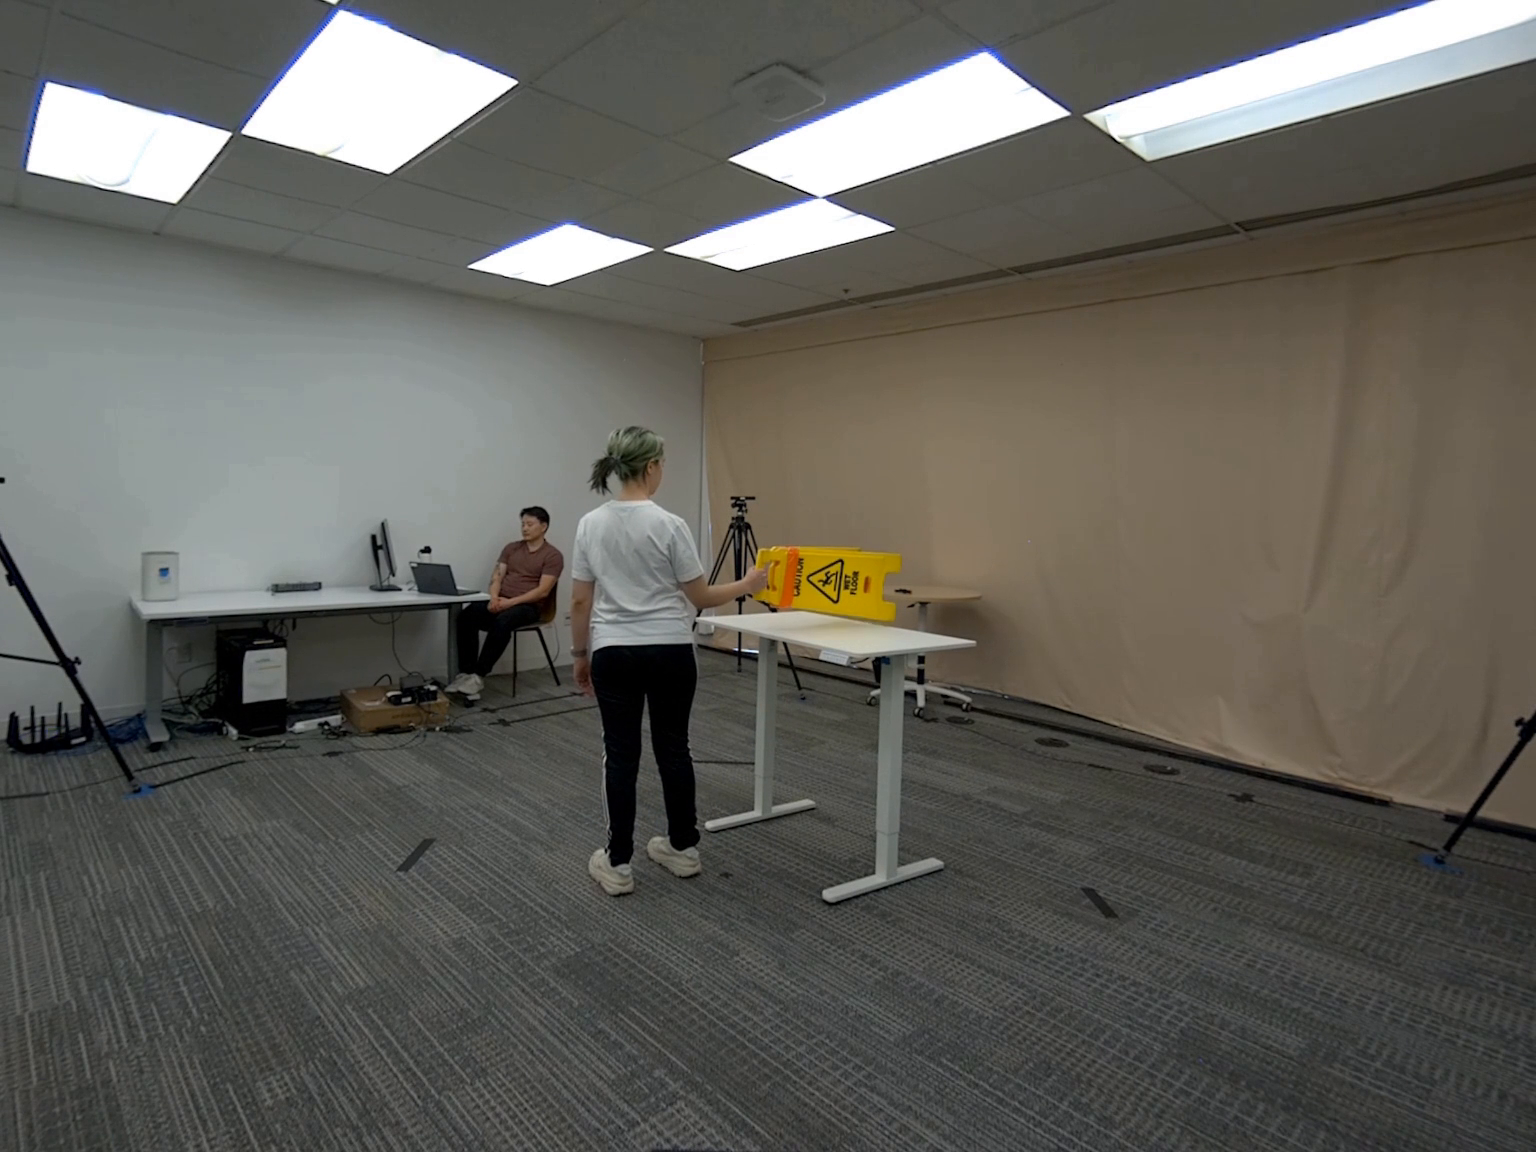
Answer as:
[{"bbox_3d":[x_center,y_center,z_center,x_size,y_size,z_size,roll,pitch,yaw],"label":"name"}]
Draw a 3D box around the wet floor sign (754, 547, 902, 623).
[{"bbox_3d":[0.199,0.015,3.389,0.630,0.282,0.297,5,4,-37],"label":"wet floor sign"}]
